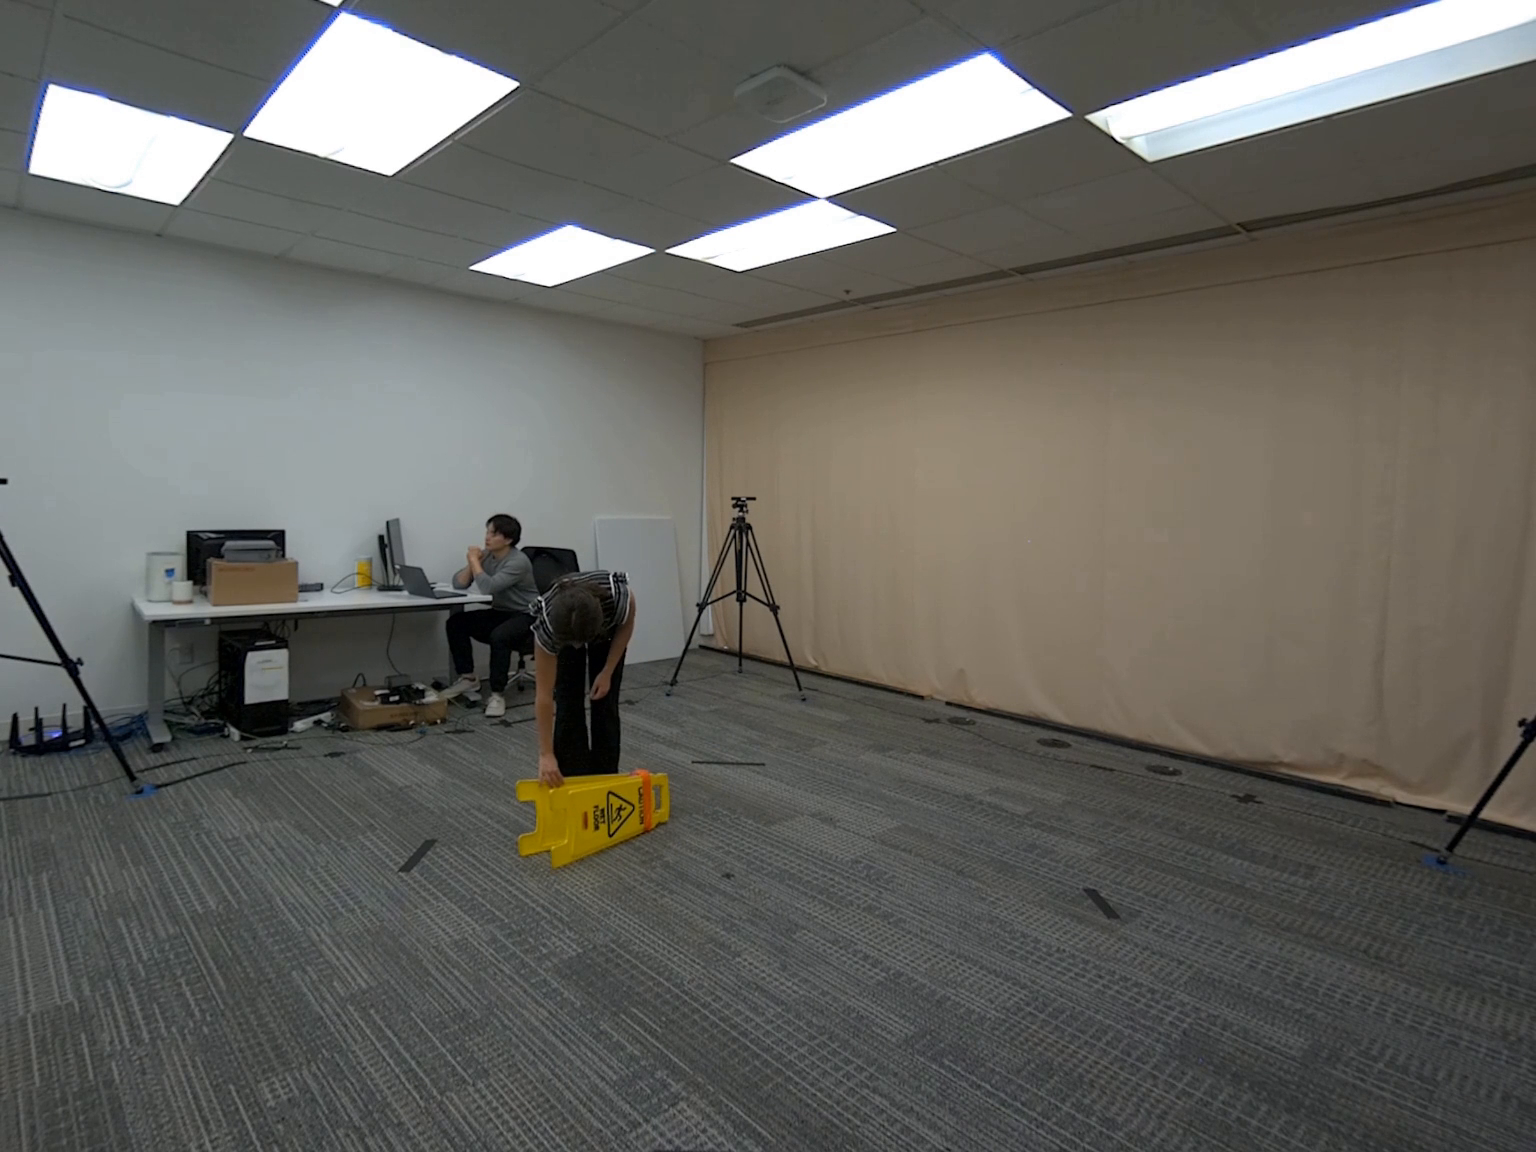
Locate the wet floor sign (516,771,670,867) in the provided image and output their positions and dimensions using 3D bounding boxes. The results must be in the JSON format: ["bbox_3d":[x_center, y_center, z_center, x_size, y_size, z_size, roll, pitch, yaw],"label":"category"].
[{"bbox_3d":[-0.670,0.940,3.397,0.630,0.283,0.296,3,-6,-44],"label":"wet floor sign"}]
